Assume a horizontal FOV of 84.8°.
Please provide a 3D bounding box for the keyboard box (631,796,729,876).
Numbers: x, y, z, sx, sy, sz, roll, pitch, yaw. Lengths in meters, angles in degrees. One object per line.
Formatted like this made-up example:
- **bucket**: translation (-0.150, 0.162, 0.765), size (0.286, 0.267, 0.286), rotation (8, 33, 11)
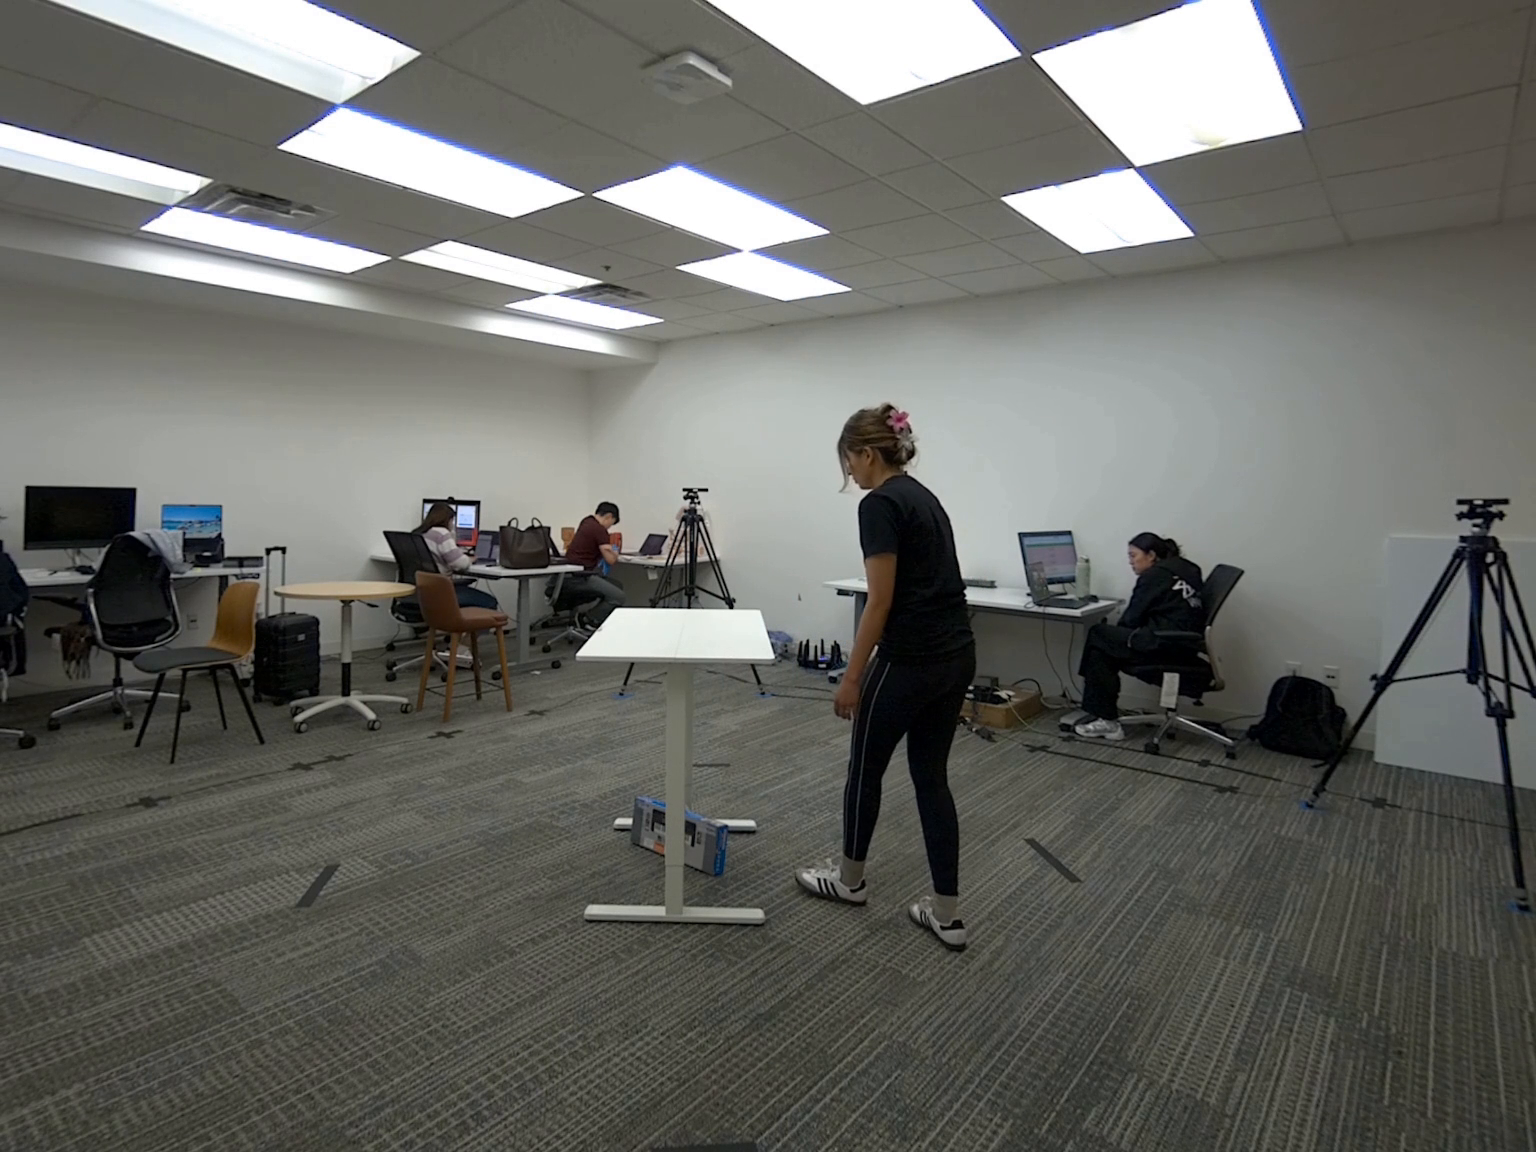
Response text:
- **keyboard box**: translation (-0.351, 0.971, 3.208), size (0.451, 0.176, 0.057), rotation (5, -2, 39)
